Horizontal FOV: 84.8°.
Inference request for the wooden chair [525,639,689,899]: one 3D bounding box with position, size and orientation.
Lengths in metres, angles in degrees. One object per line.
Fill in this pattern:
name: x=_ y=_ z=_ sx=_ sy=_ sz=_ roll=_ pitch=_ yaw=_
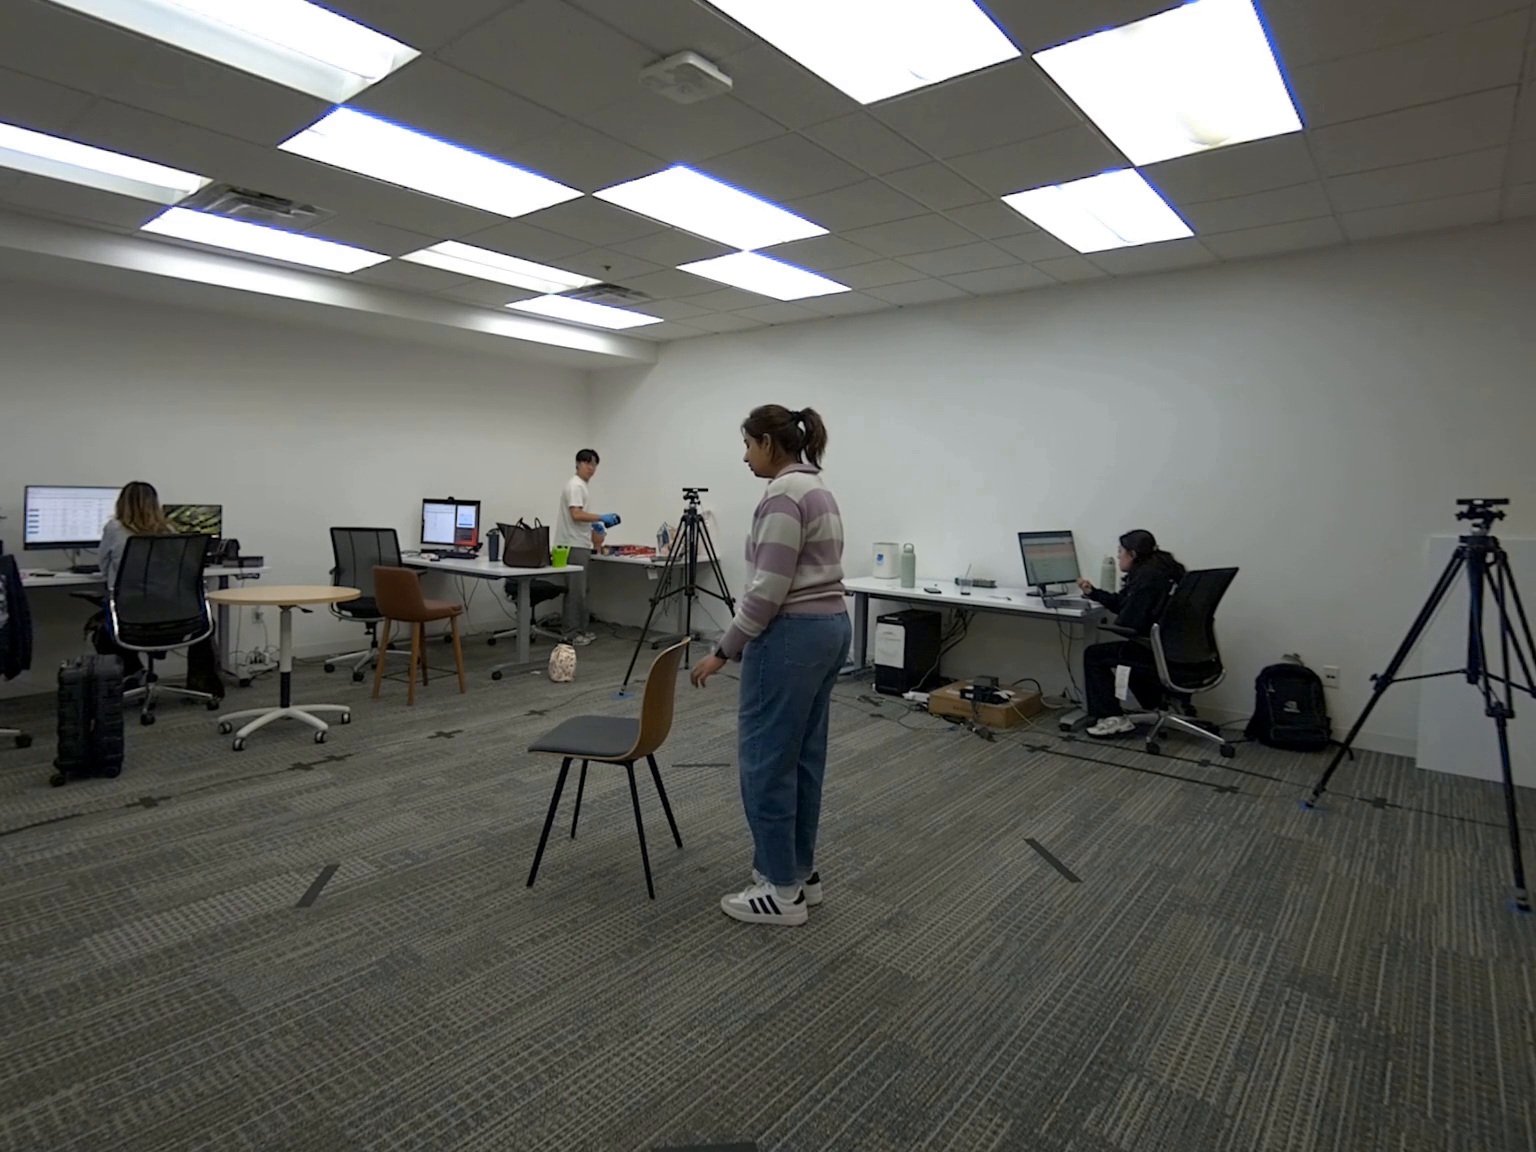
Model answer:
wooden chair: x=-0.590 y=0.636 z=3.101 sx=0.529 sy=0.874 sz=0.474 roll=6 pitch=4 yaw=9
